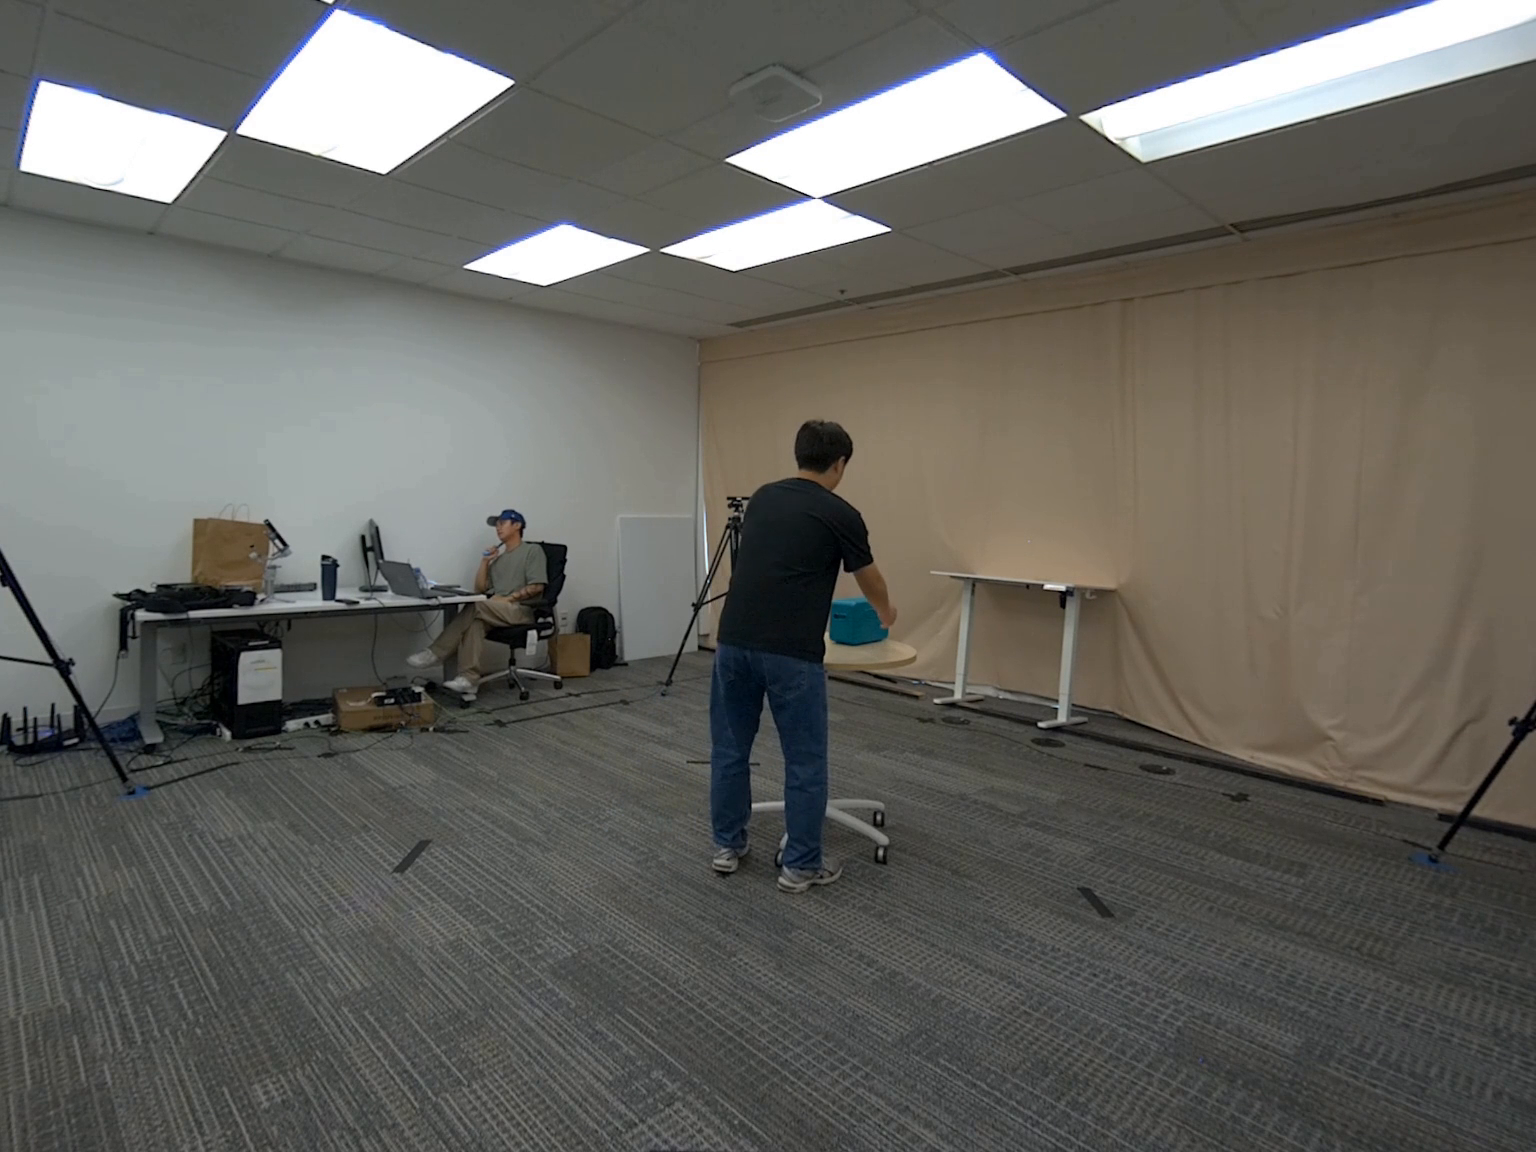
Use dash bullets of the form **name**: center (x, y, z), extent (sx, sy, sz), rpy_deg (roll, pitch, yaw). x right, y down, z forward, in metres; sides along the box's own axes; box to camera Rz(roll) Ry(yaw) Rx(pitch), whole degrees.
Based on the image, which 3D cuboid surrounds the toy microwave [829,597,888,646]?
- **toy microwave**: center (0.383, 0.189, 3.616), extent (0.156, 0.184, 0.280), rpy_deg (5, 5, 40)
